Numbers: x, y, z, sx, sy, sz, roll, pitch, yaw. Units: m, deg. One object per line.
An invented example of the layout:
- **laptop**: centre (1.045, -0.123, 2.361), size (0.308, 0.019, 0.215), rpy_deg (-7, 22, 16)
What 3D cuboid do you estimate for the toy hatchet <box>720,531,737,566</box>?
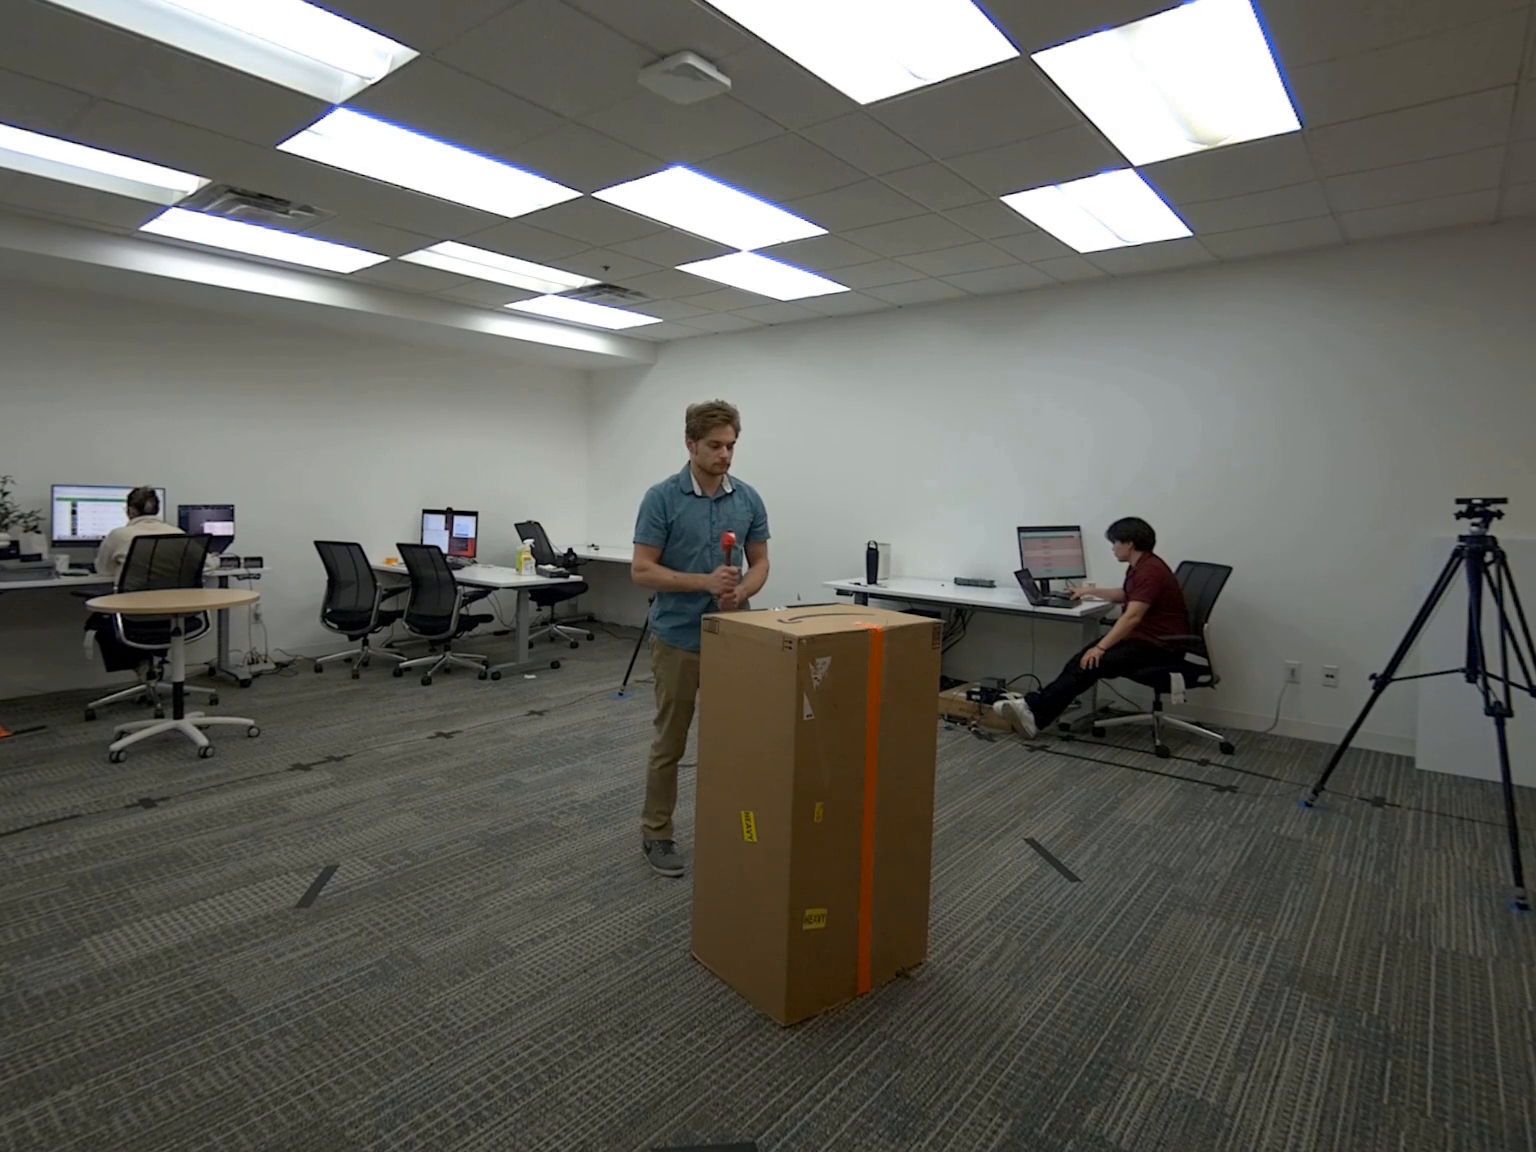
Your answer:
- **toy hatchet**: centre (-0.169, -0.049, 2.954), size (0.029, 0.265, 0.136), rpy_deg (-3, 27, -21)
